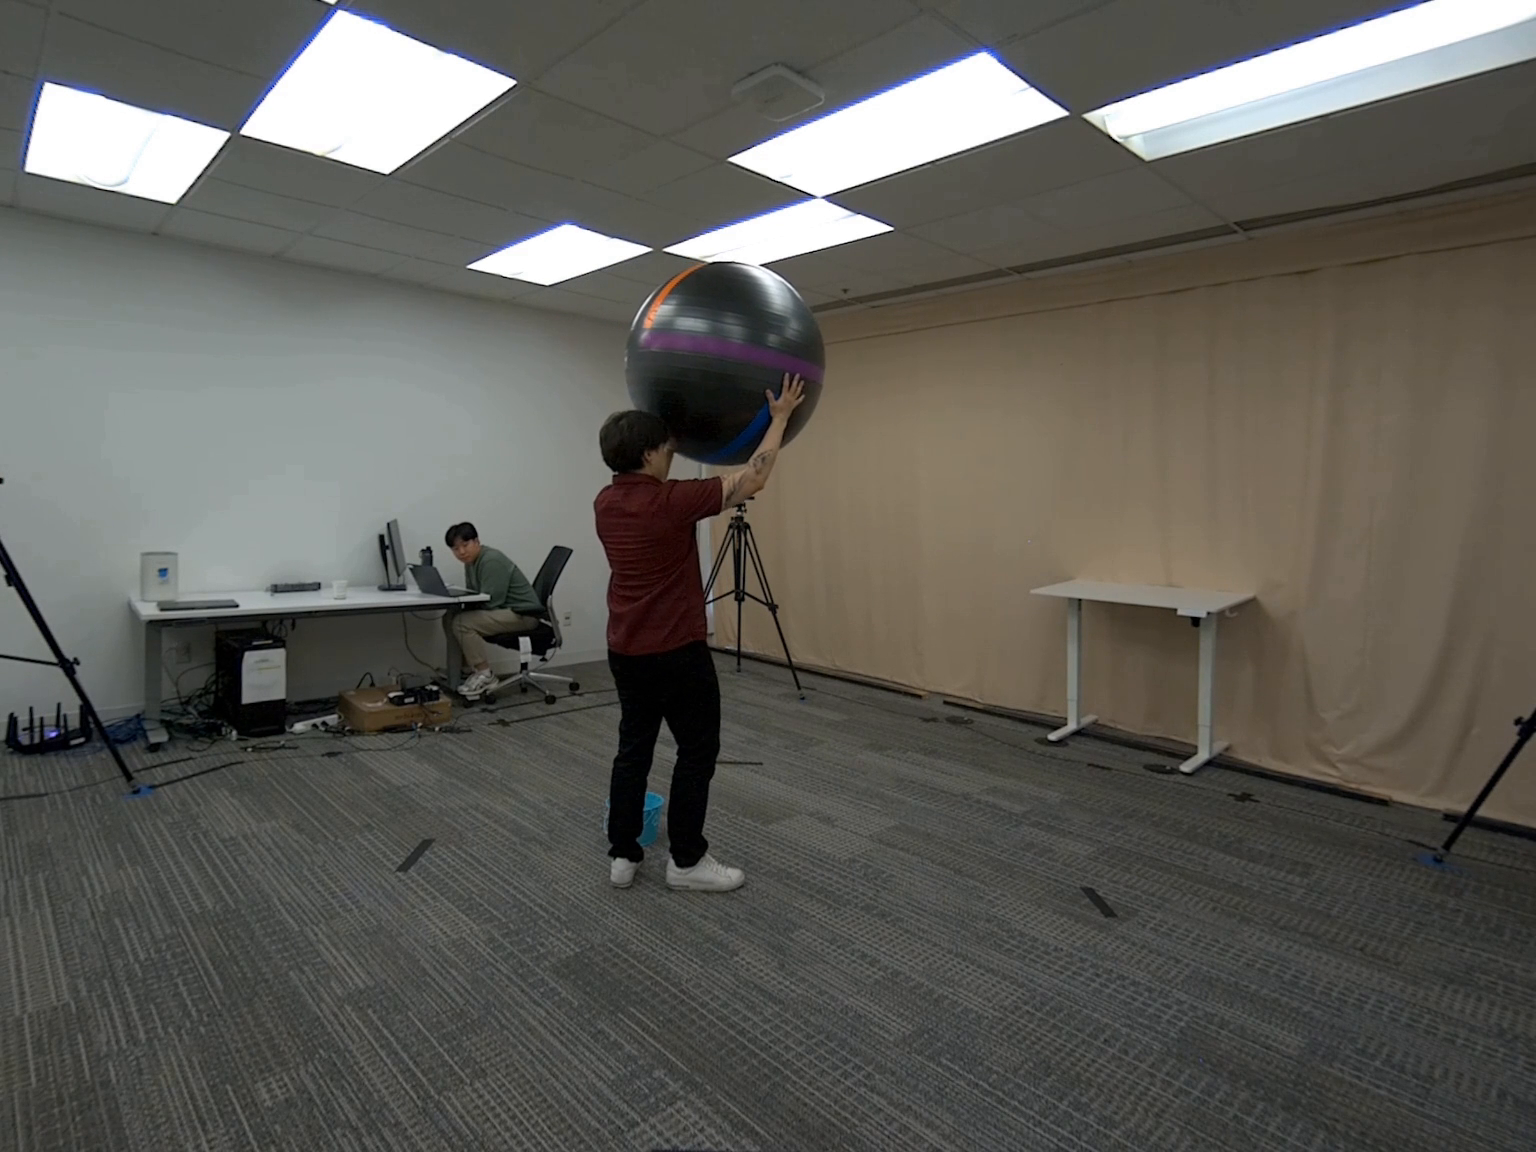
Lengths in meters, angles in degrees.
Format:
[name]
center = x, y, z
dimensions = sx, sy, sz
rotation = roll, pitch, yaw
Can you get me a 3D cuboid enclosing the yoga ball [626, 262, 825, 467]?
[yoga ball]
center = -0.169, -0.798, 3.207
dimensions = 0.757, 0.756, 0.761
rotation = 1, 4, -1
